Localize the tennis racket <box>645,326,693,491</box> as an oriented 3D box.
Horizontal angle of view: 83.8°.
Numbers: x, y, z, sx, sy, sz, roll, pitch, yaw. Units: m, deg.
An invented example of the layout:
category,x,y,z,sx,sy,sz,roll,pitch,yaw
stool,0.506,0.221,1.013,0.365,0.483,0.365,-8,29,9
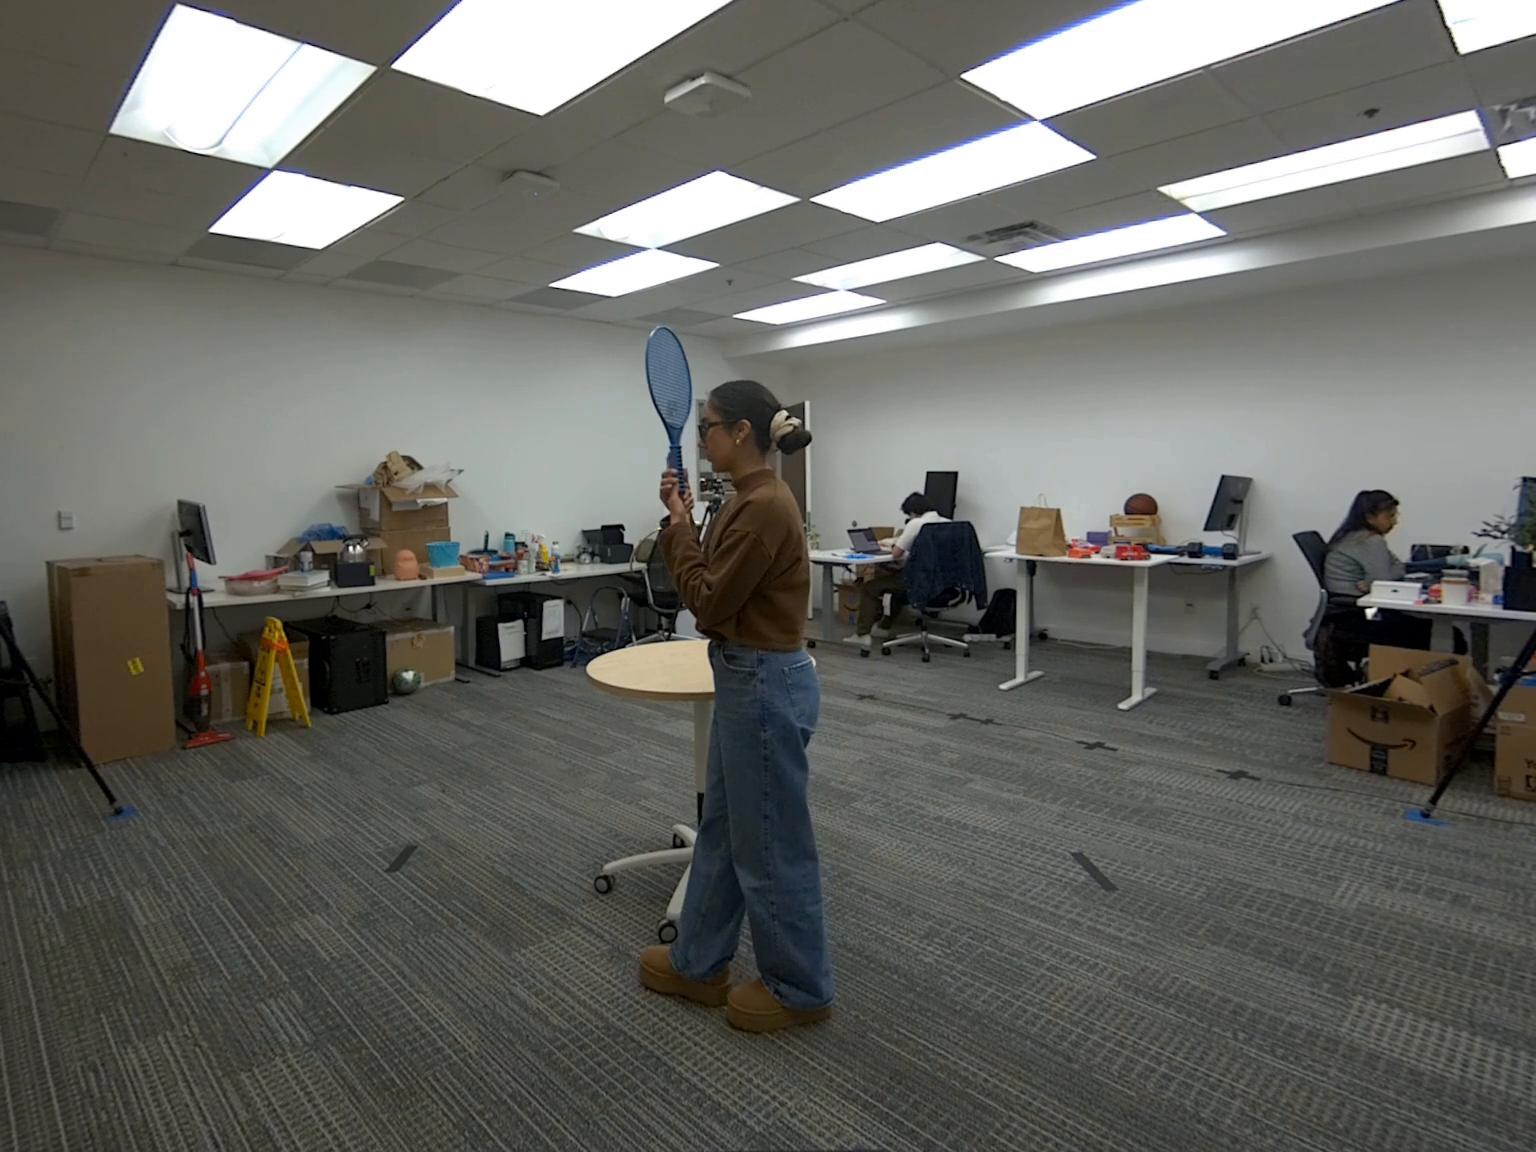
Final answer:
category,x,y,z,sx,sy,sz,roll,pitch,yaw
tennis racket,-0.220,-0.439,2.211,0.032,0.432,0.210,-11,1,23
